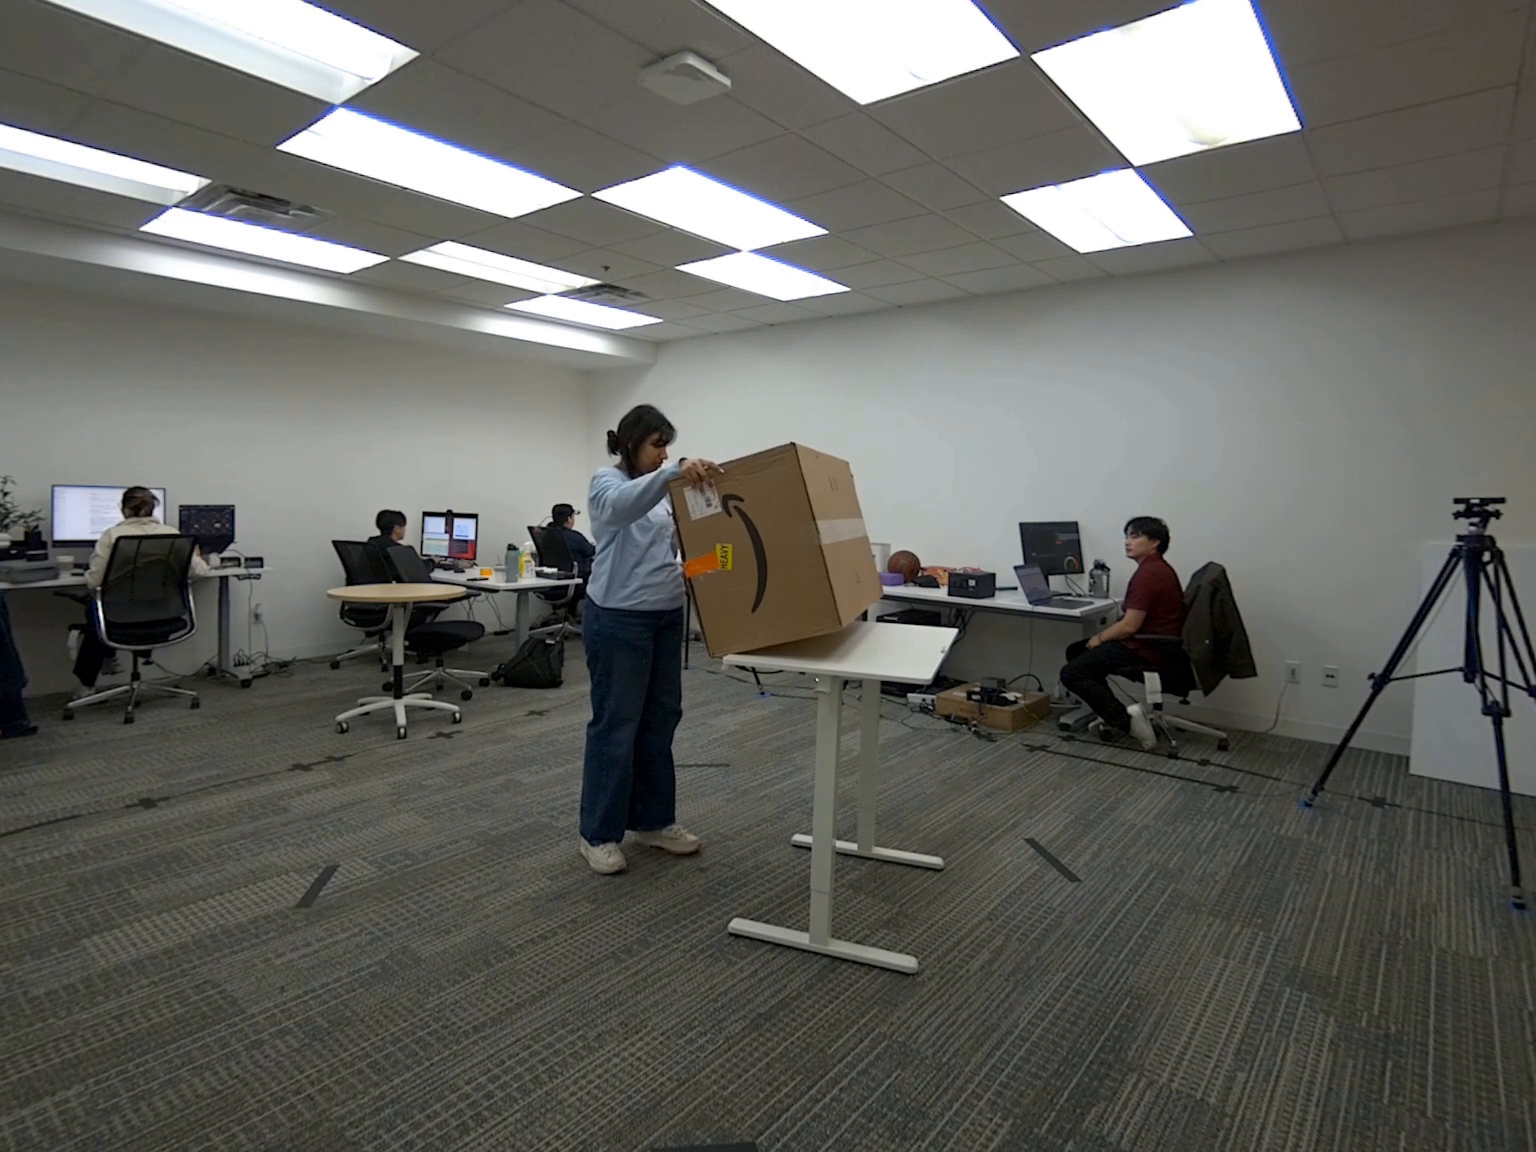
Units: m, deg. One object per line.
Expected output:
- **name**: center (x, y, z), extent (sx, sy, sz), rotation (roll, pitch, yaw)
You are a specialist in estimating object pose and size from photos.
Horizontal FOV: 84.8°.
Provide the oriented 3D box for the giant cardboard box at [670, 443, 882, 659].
- **giant cardboard box**: center (0.062, -0.111, 3.037), extent (0.431, 0.579, 1.011), rotation (-16, -1, 15)
